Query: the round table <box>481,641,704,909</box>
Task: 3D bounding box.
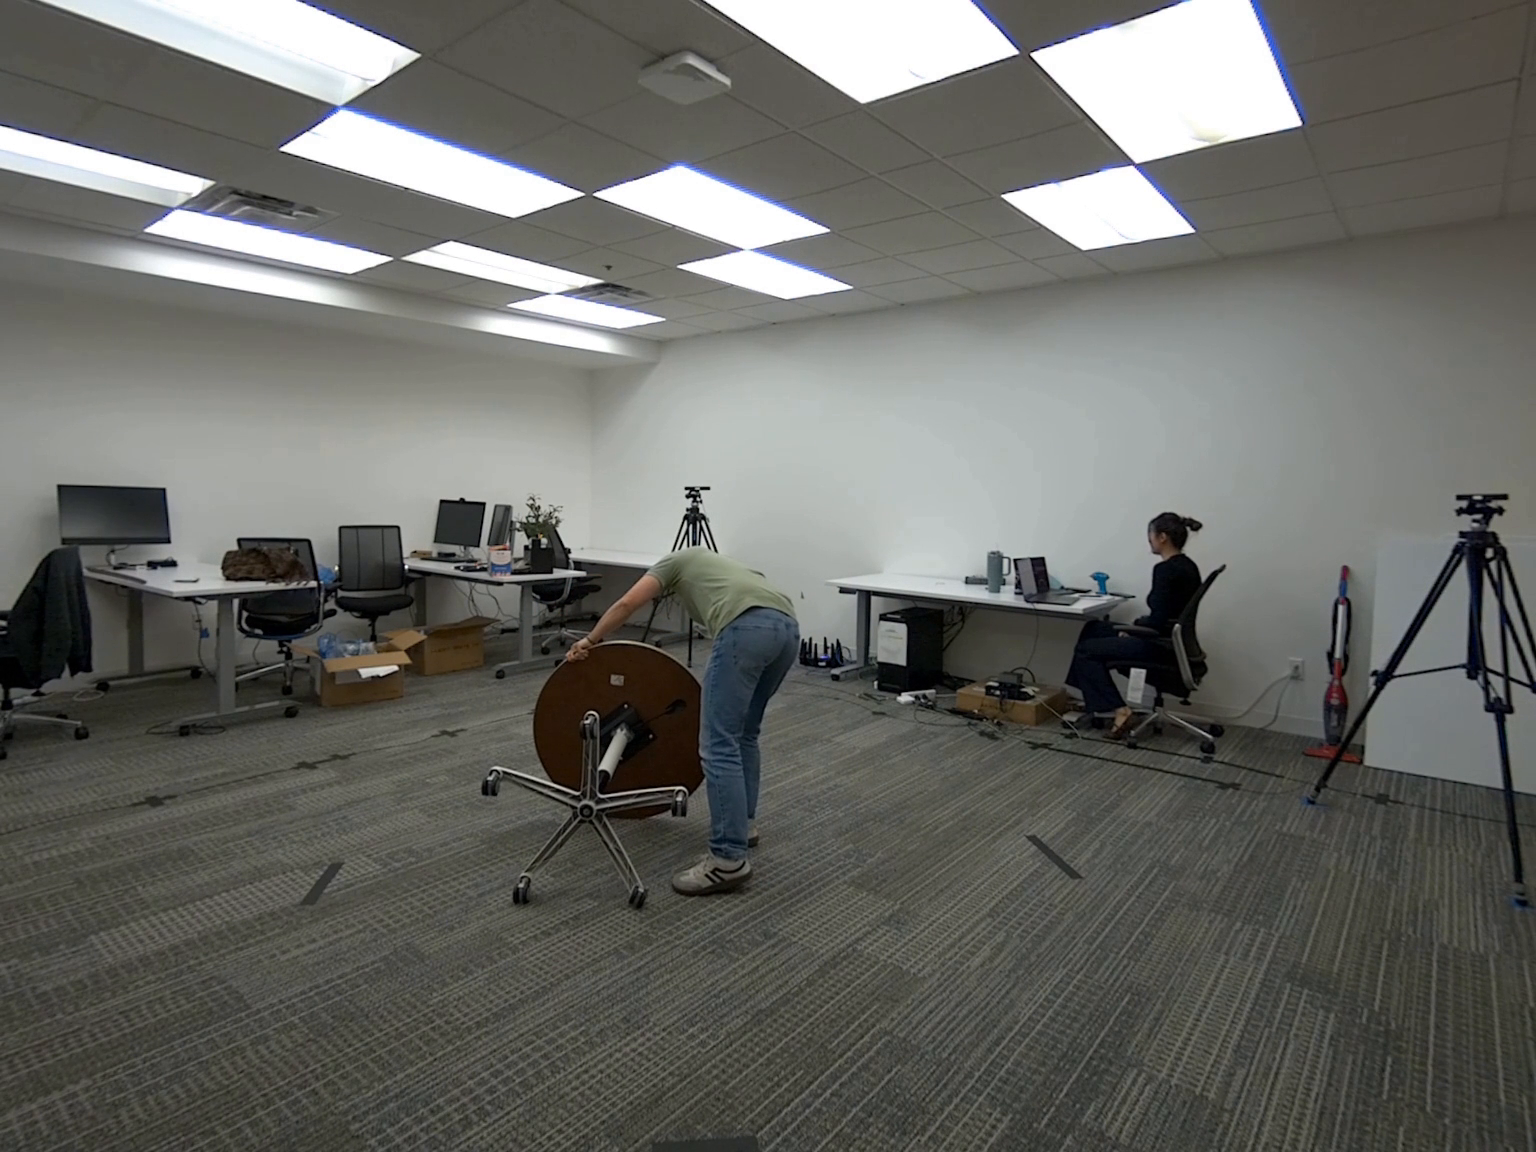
[{"bbox_3d":[-0.608,0.722,3.136,0.767,0.757,0.799,1,11,3],"label":"round table"}]
